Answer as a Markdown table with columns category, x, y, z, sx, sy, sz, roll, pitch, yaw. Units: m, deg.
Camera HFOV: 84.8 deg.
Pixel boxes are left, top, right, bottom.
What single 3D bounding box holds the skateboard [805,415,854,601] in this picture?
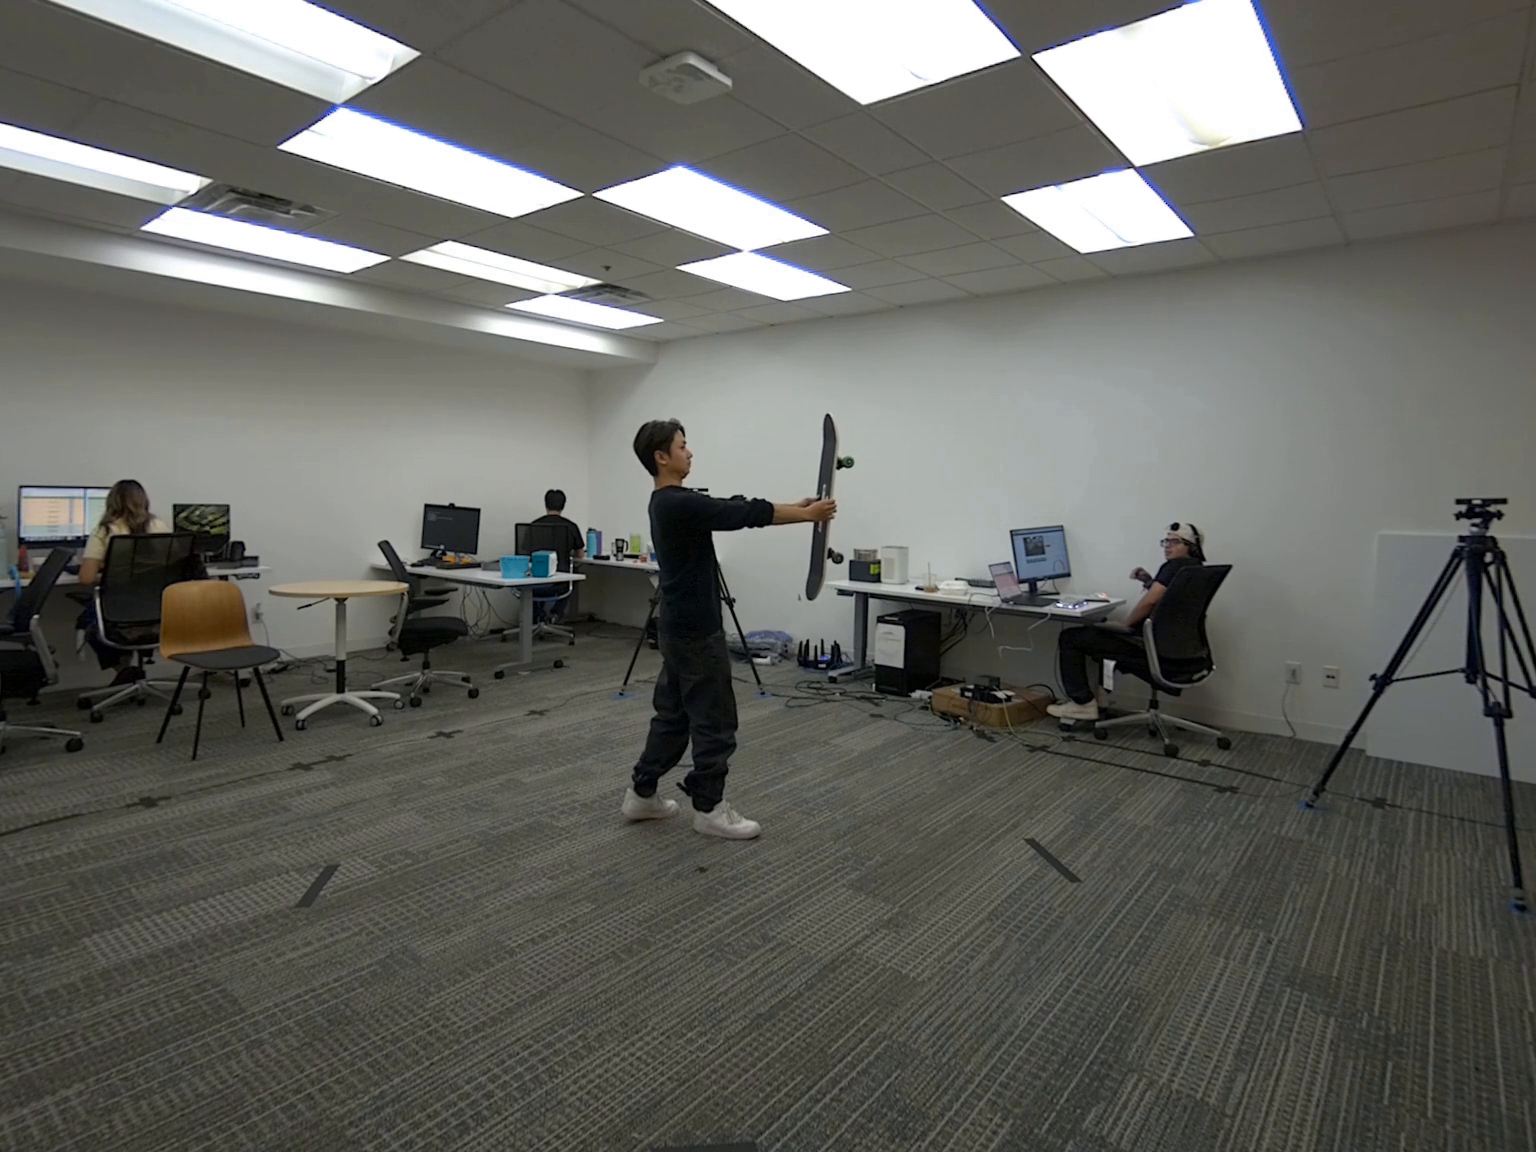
| category | x | y | z | sx | sy | sz | roll | pitch | yaw |
| --- | --- | --- | --- | --- | --- | --- | --- | --- | --- |
| skateboard | 0.252 | -0.286 | 3.580 | 0.109 | 0.782 | 0.197 | 5 | 5 | -15 |
